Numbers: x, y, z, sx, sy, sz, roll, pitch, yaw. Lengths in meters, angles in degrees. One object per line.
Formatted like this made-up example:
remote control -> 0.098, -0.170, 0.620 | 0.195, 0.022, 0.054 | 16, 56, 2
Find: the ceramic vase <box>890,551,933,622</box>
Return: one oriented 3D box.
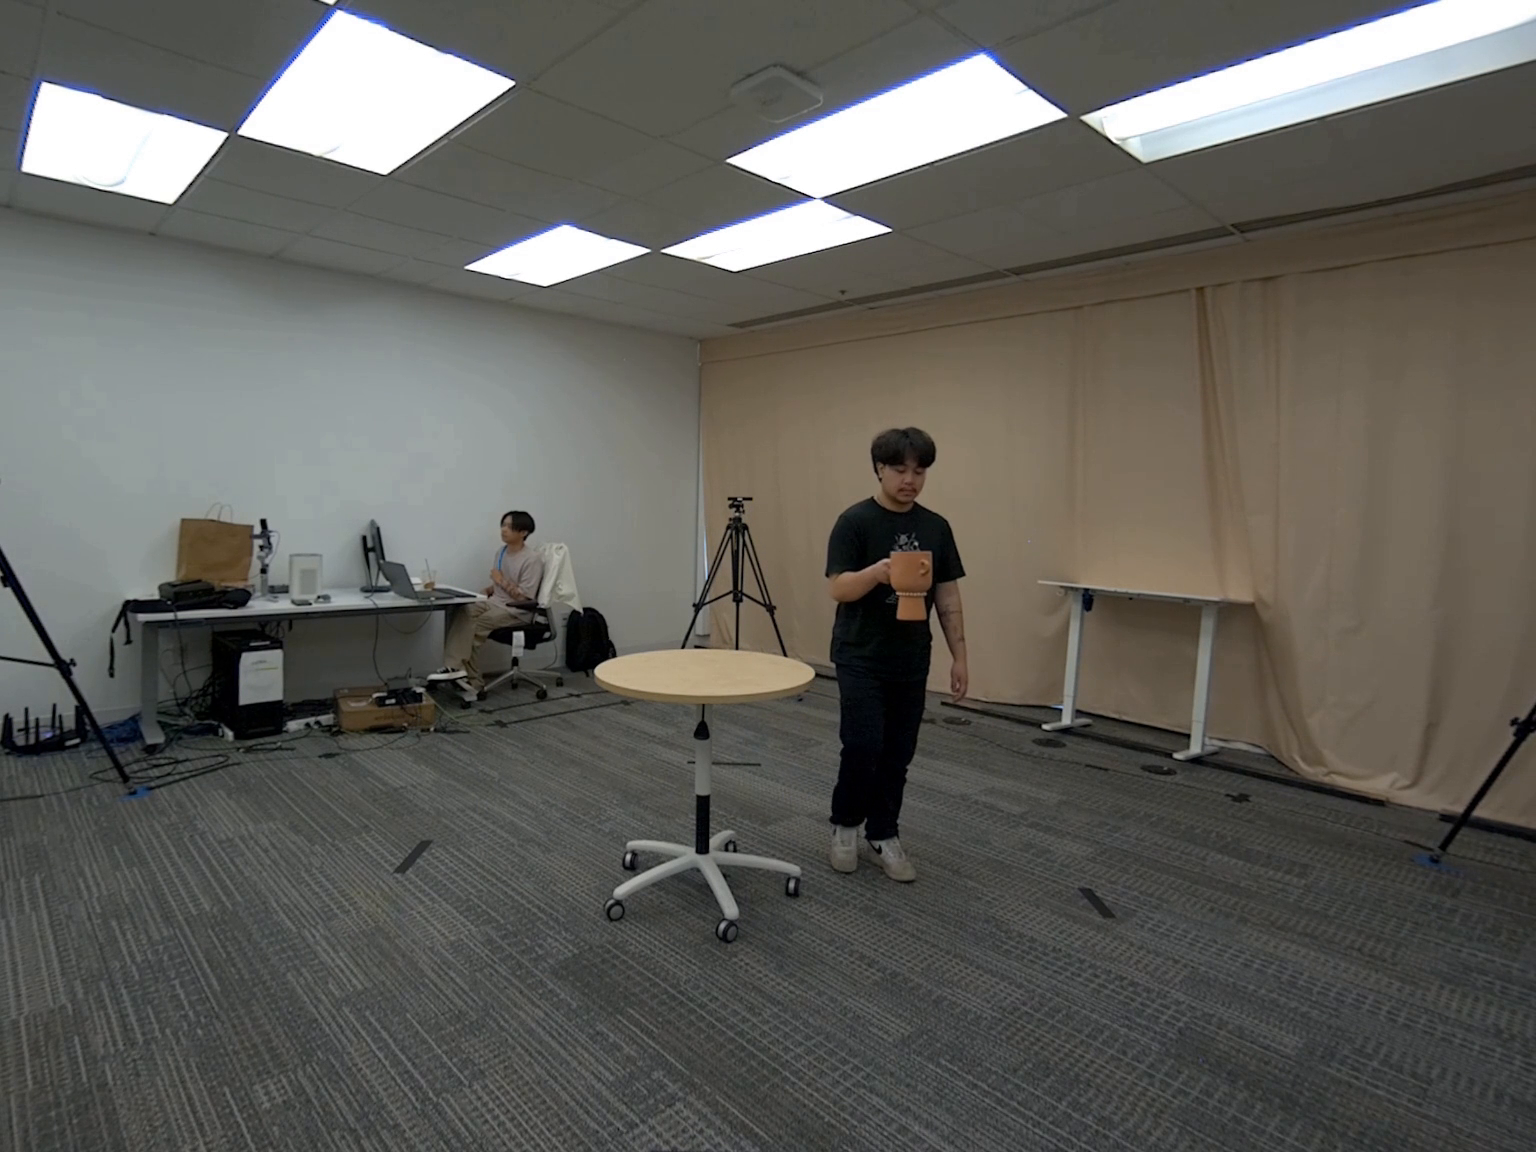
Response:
ceramic vase -> 0.444, 0.028, 2.750 | 0.136, 0.219, 0.157 | 0, 2, 15
